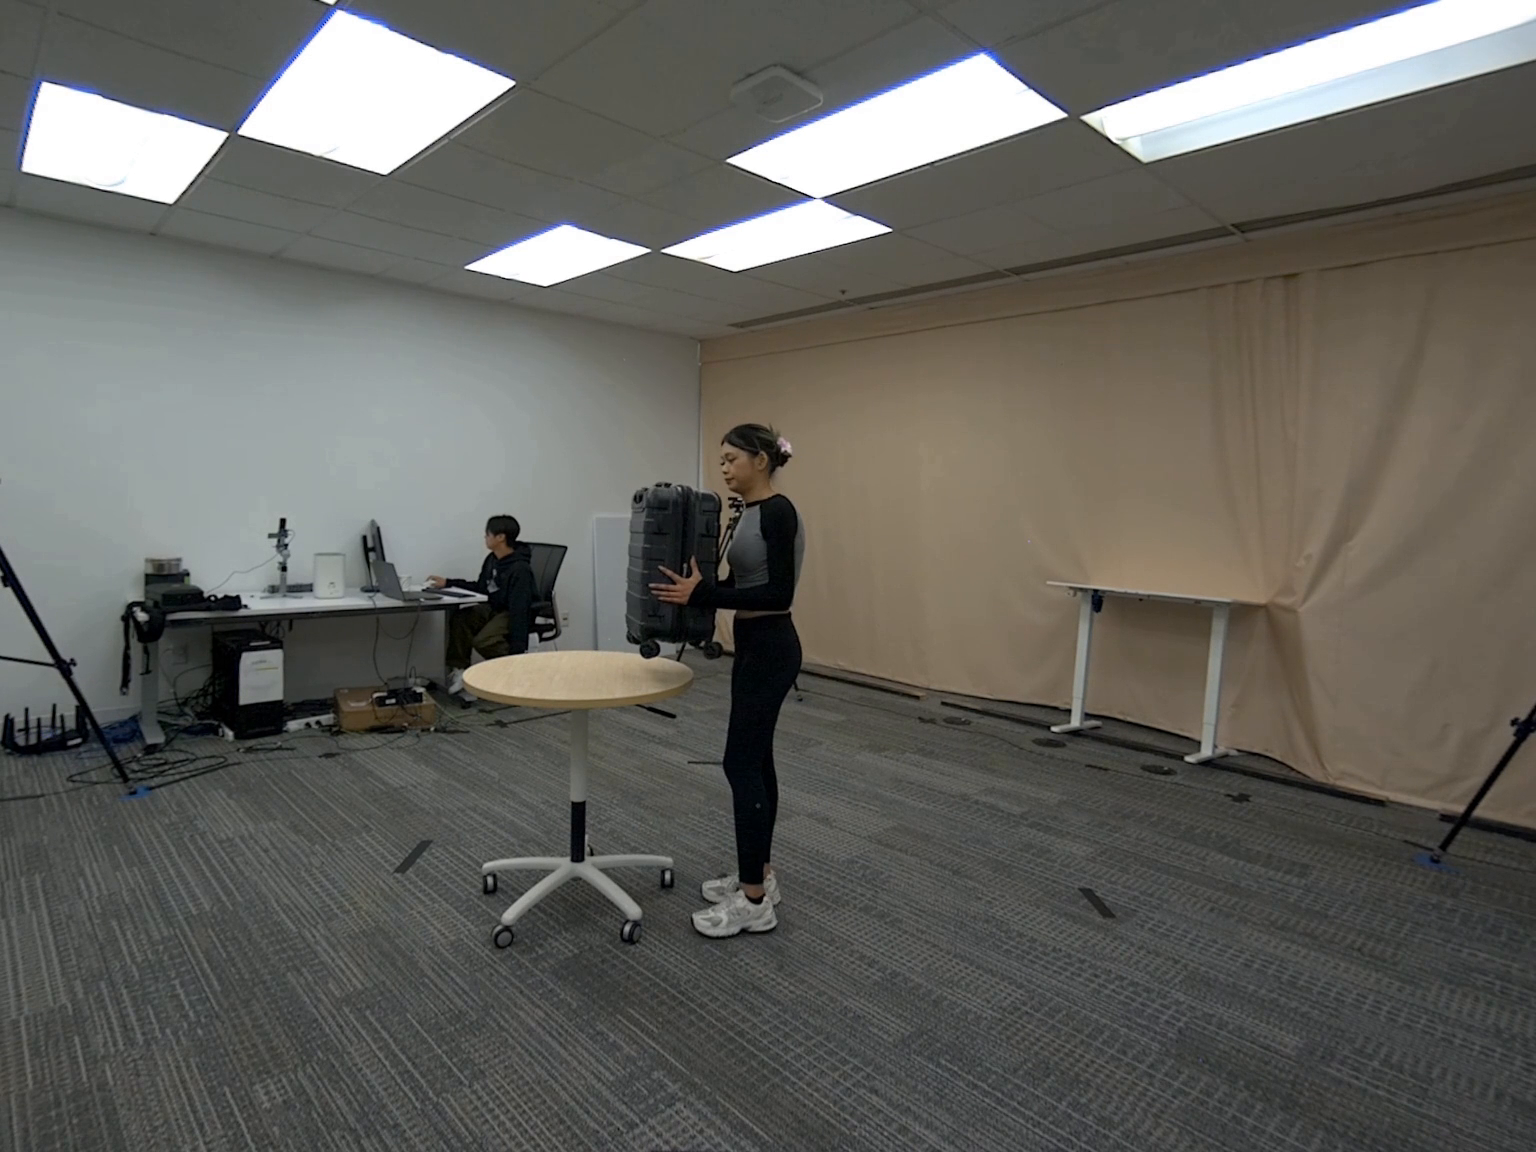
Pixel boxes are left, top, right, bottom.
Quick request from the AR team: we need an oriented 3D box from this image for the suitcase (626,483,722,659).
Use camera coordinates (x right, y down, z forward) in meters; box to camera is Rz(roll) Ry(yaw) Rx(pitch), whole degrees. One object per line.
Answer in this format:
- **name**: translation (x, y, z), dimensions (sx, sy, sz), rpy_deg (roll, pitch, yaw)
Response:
- **suitcase**: translation (-0.323, -0.029, 2.780), dimensions (0.245, 0.549, 0.381), rpy_deg (3, 1, -18)
